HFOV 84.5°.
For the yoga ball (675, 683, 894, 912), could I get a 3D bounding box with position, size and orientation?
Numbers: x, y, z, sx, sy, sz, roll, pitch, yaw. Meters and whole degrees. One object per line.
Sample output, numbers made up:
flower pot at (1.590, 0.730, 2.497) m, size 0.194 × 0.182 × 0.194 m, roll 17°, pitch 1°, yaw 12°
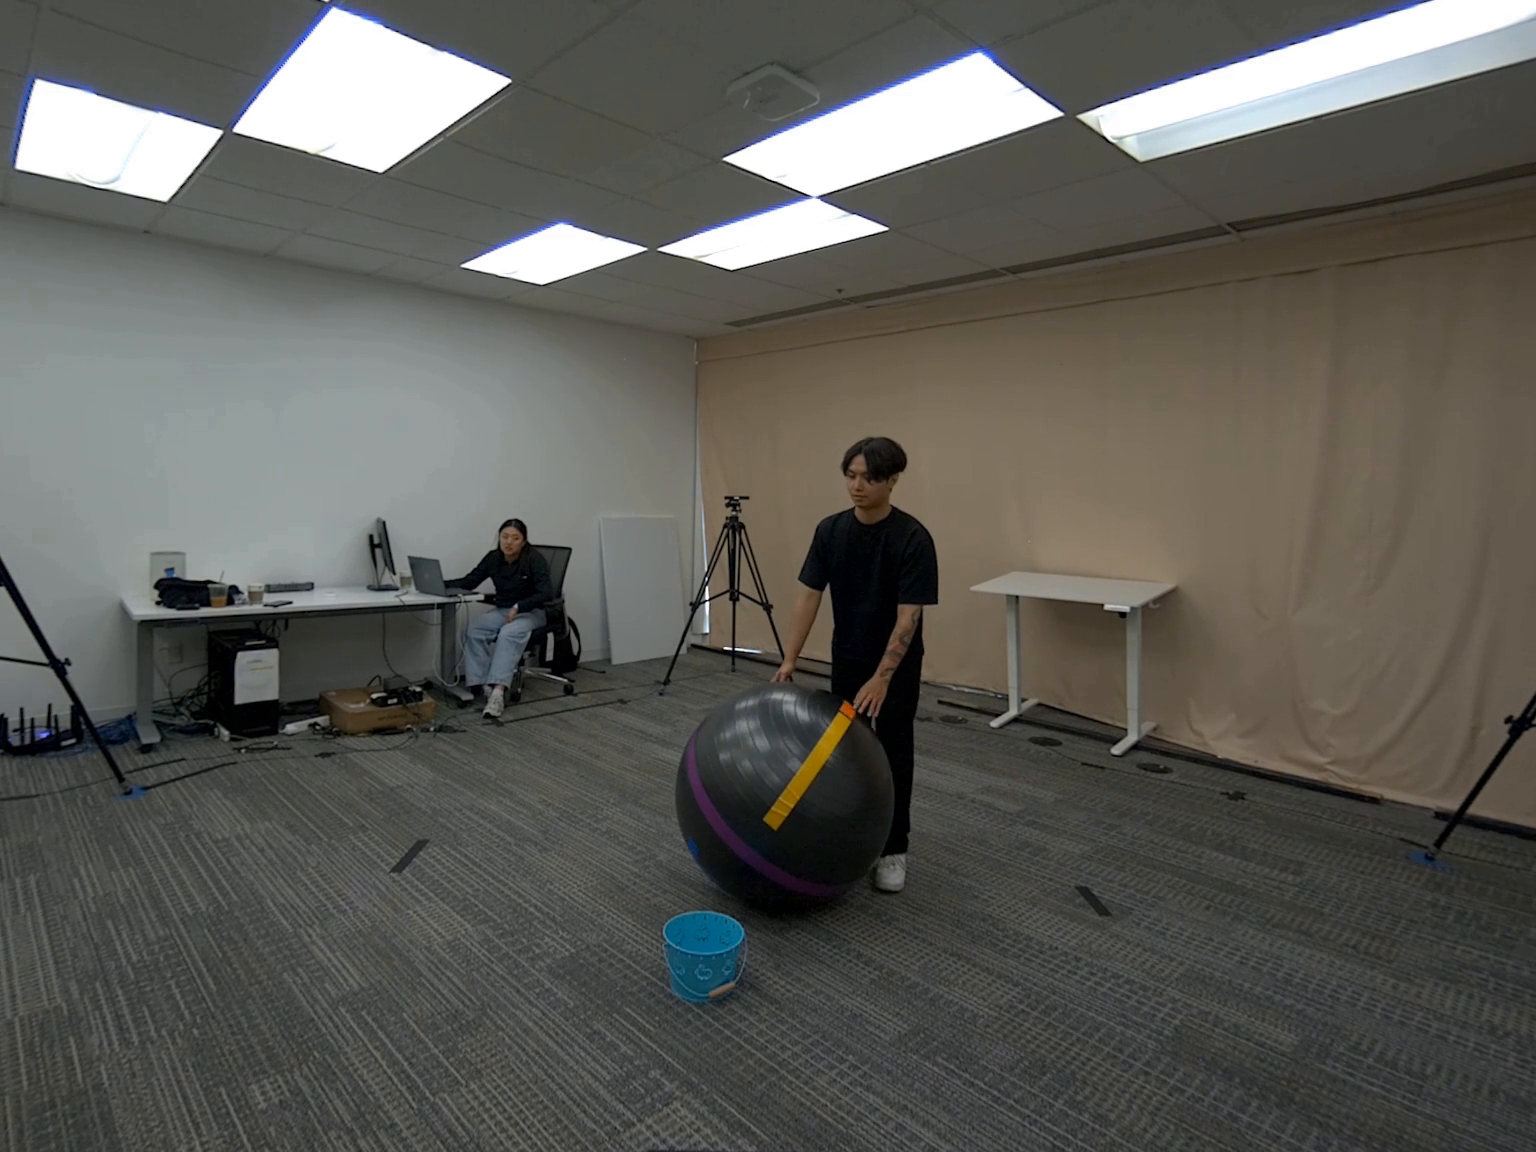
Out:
yoga ball at (0.049, 0.757, 2.928) m, size 0.757 × 0.756 × 0.761 m, roll 1°, pitch 4°, yaw -1°
